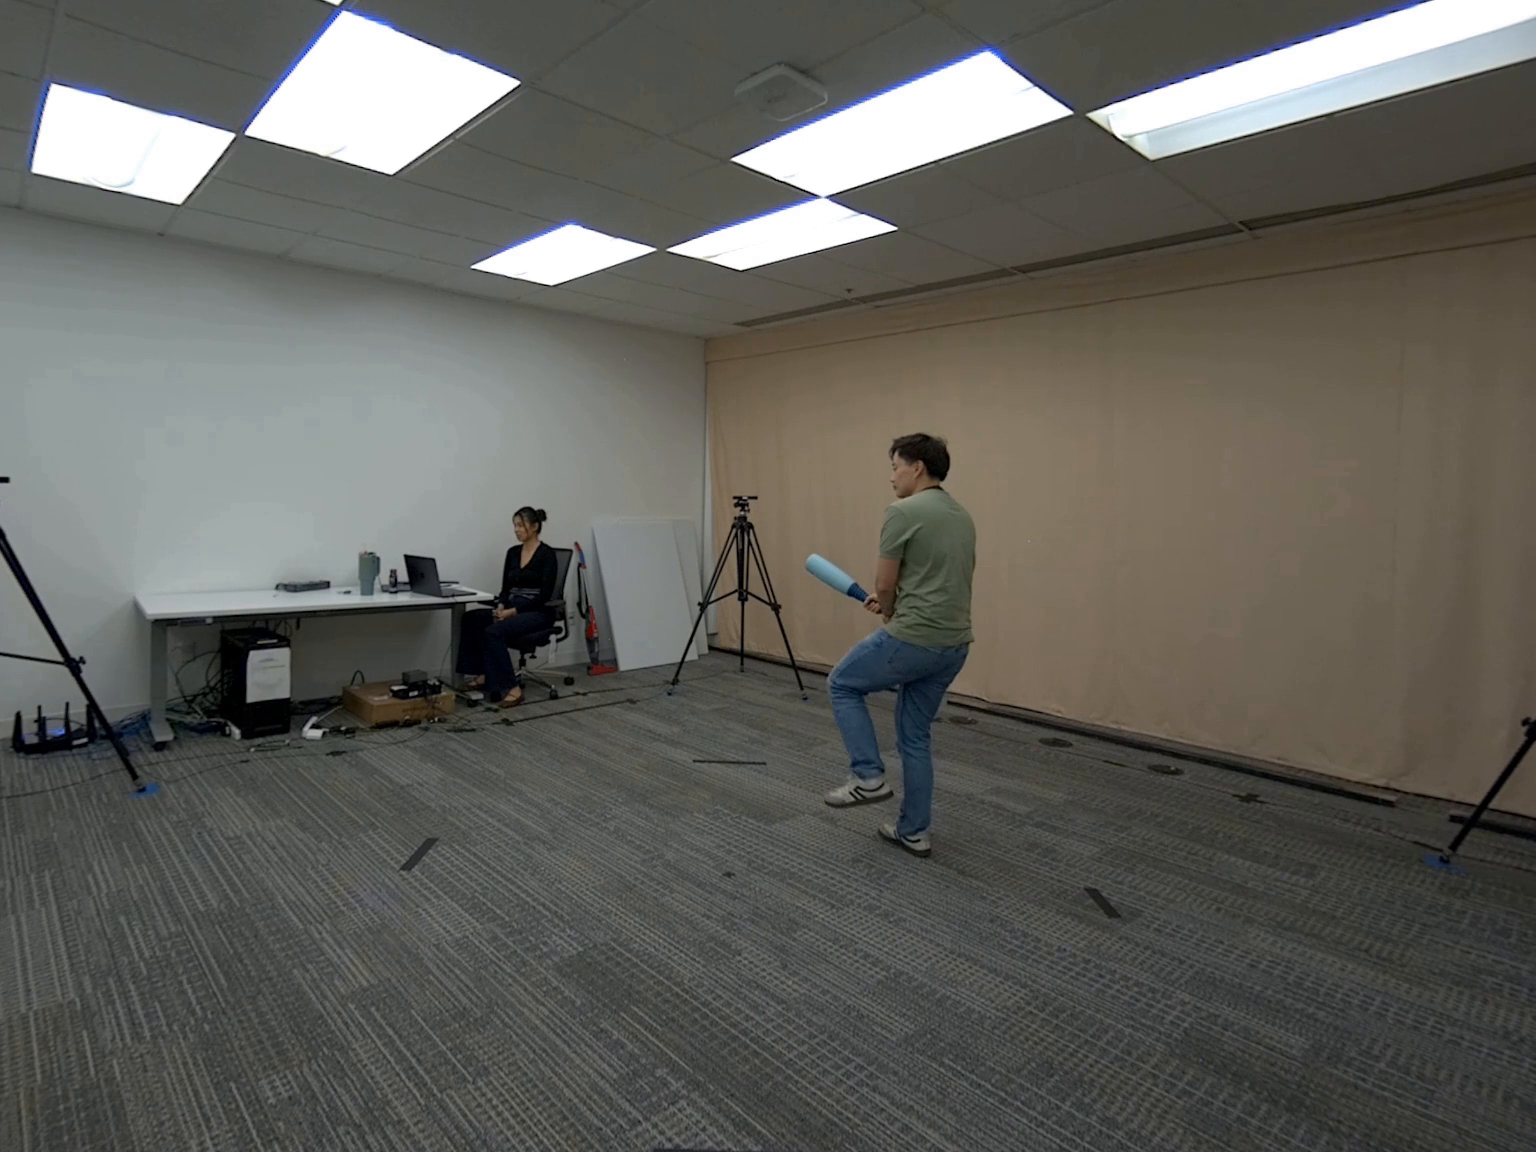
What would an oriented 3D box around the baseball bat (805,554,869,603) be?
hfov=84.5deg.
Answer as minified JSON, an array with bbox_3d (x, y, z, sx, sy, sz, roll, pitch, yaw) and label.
[{"bbox_3d":[0.385,0.070,3.676,0.558,0.088,0.087,35,22,30],"label":"baseball bat"}]
